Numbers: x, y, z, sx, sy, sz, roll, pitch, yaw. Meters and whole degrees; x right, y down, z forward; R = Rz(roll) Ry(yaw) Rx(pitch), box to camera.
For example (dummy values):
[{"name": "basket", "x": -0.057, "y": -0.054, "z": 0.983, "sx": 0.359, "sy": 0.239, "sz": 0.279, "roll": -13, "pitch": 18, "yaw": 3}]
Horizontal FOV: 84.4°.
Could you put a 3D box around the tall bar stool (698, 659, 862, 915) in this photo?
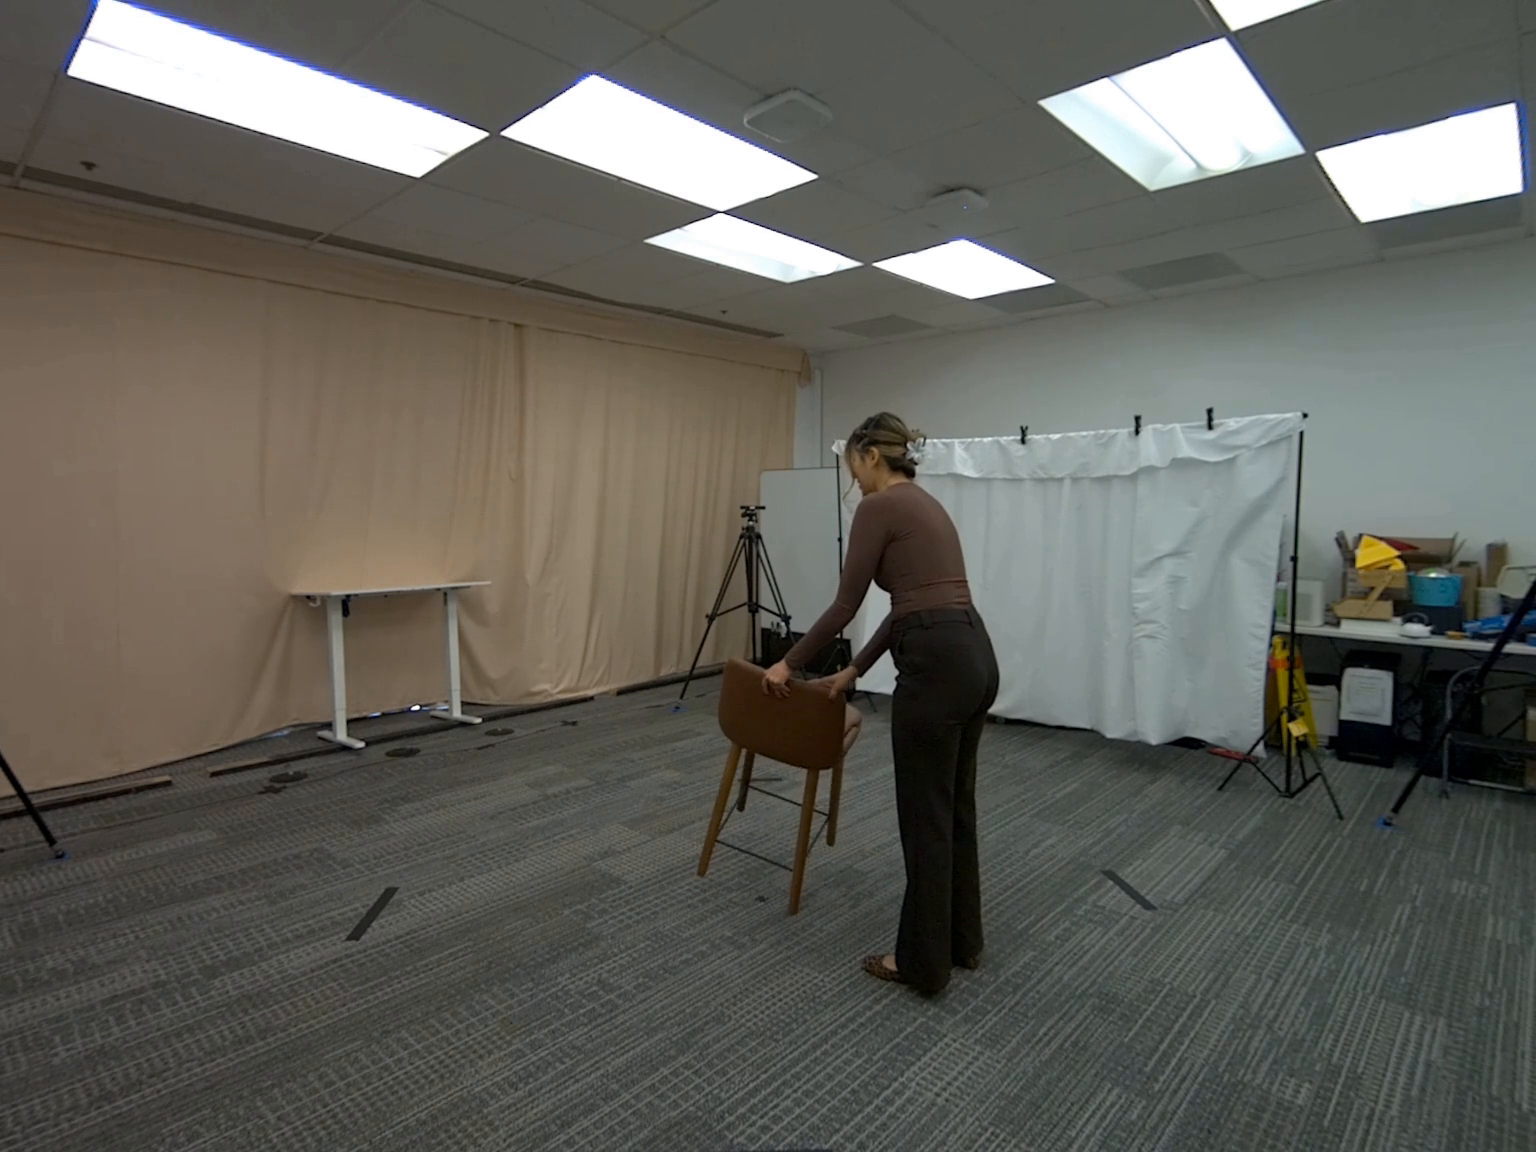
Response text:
[{"name": "tall bar stool", "x": 0.056, "y": 0.651, "z": 2.972, "sx": 0.467, "sy": 0.881, "sz": 0.462, "roll": 15, "pitch": 22, "yaw": 18}]
